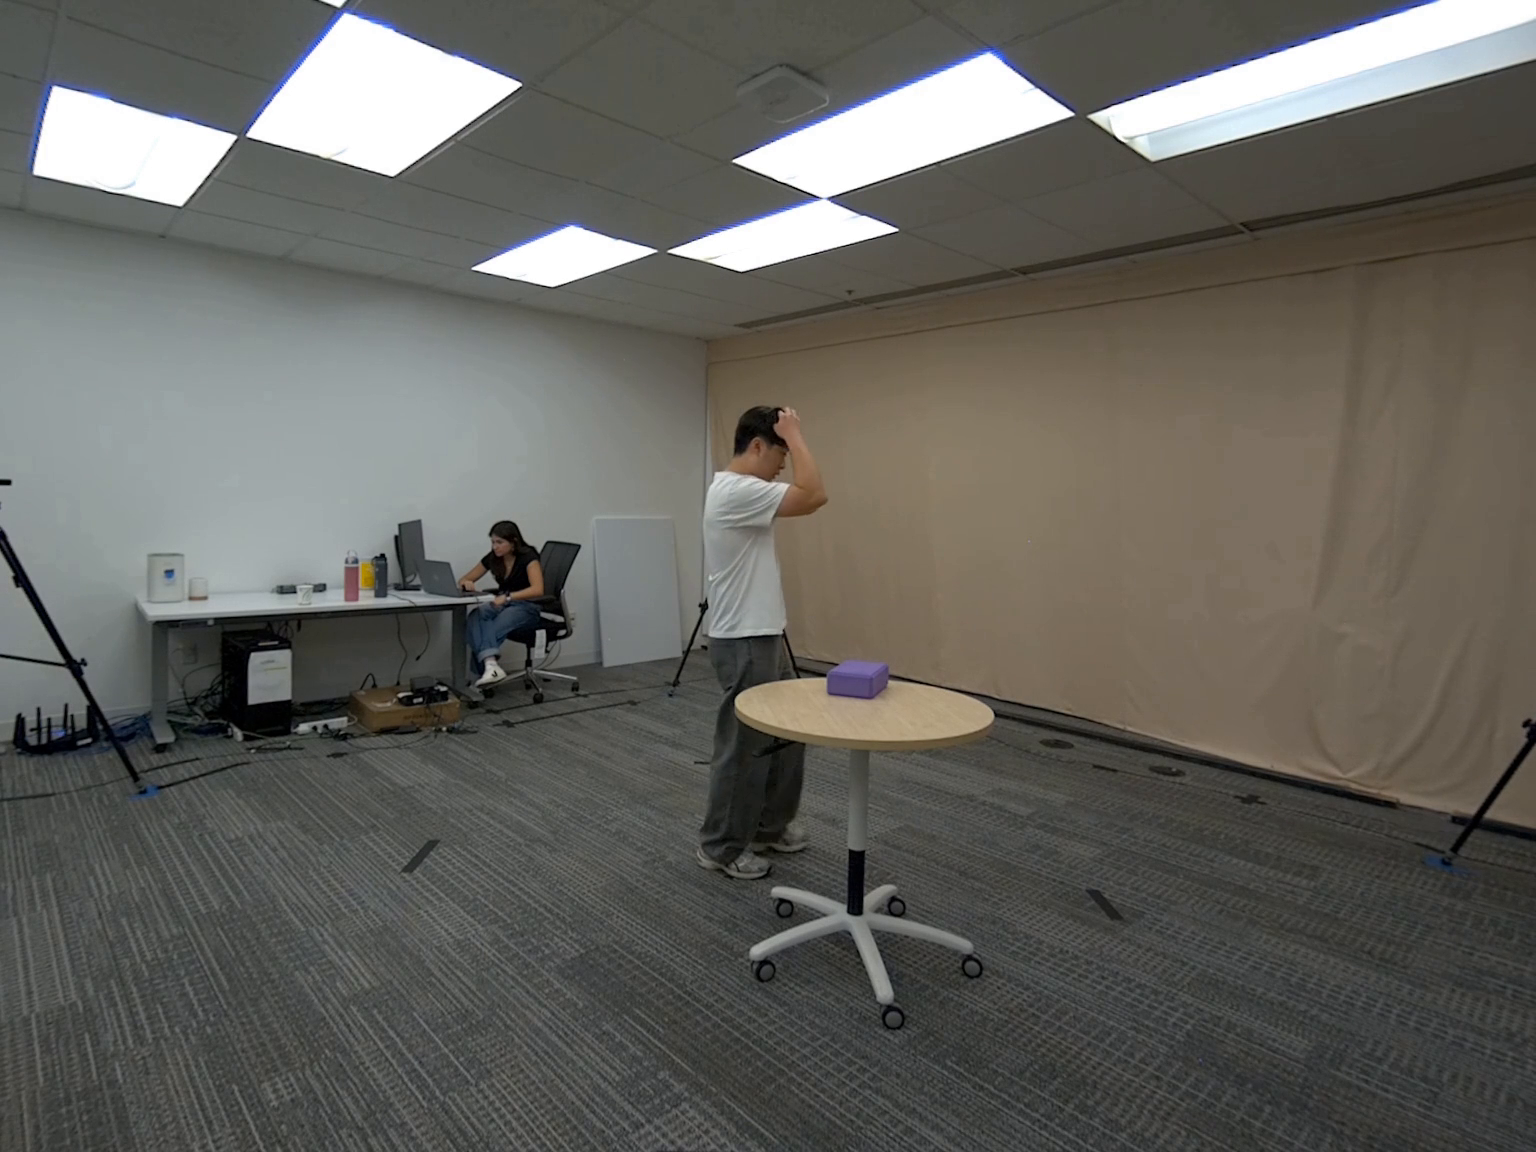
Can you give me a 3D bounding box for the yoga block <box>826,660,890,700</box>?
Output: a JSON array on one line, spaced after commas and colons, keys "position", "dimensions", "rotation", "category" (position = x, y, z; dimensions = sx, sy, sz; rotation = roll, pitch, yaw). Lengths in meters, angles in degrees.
[{"position": [0.287, 0.334, 2.716], "dimensions": [0.151, 0.076, 0.226], "rotation": [3, 6, 20], "category": "yoga block"}]
